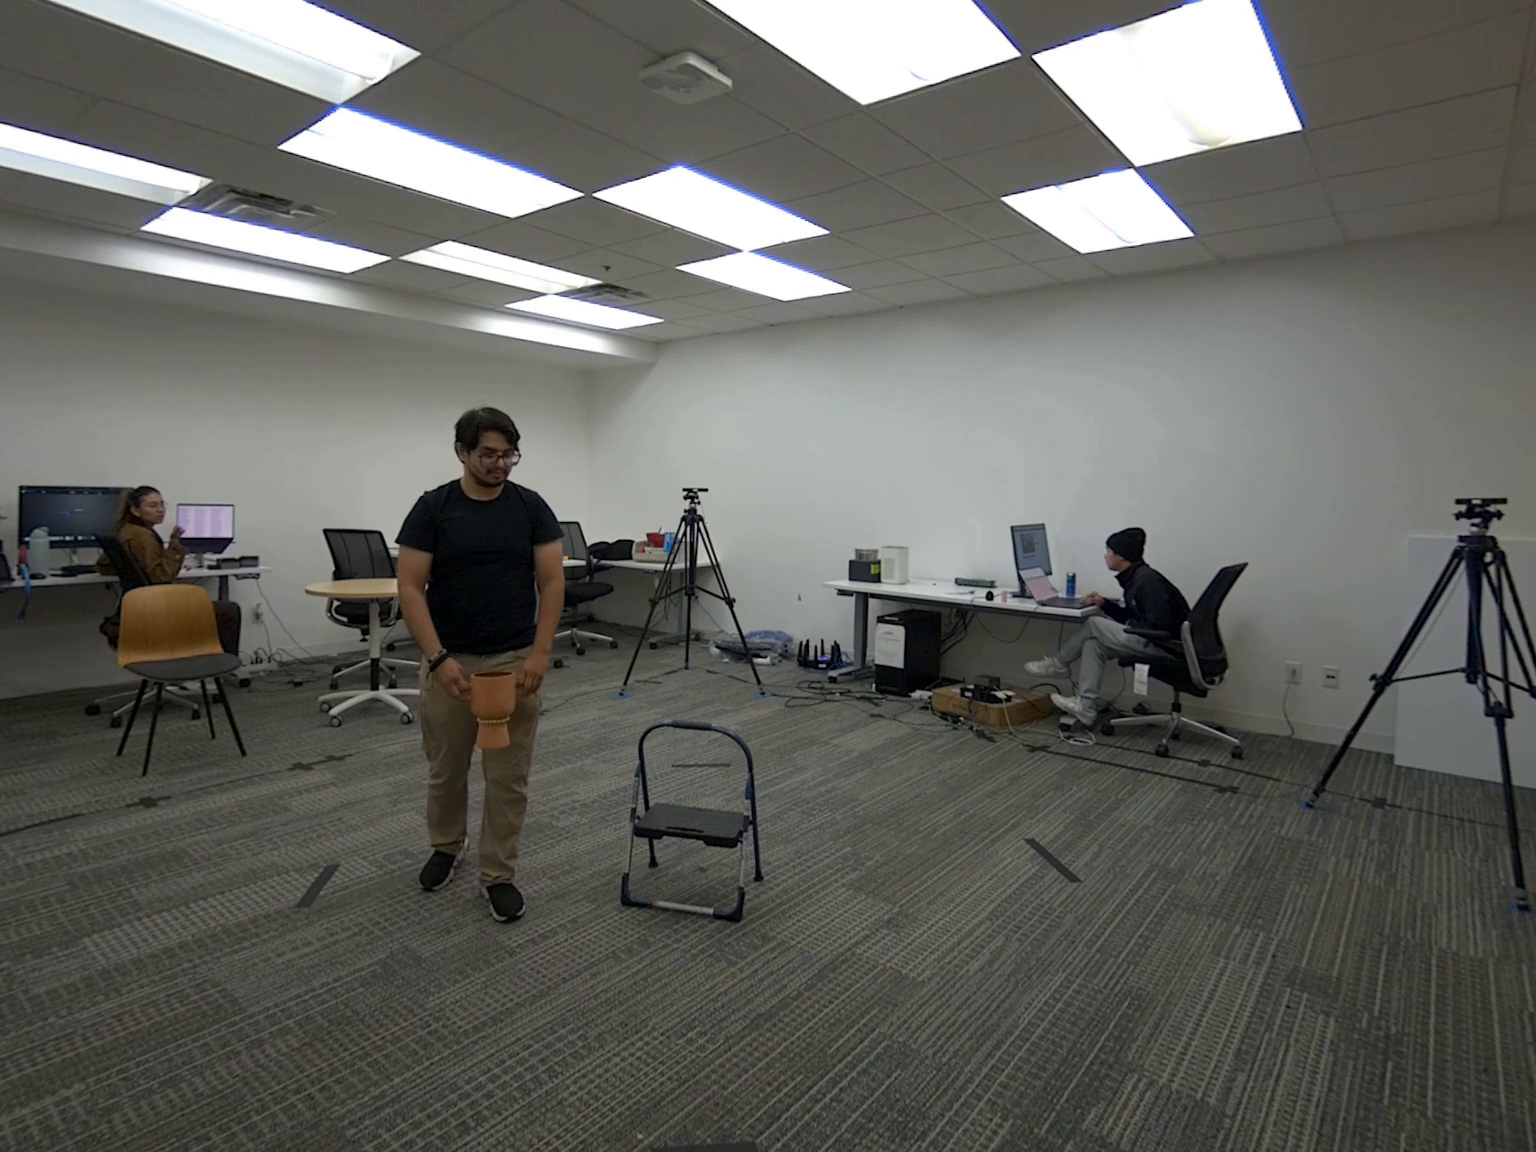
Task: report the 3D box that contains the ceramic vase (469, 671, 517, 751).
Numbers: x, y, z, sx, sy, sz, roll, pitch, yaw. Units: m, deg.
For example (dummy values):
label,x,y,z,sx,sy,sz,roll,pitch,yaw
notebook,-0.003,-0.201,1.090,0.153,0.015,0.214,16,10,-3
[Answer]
label,x,y,z,sx,sy,sz,roll,pitch,yaw
ceramic vase,-0.868,0.408,2.626,0.161,0.219,0.133,0,1,13
